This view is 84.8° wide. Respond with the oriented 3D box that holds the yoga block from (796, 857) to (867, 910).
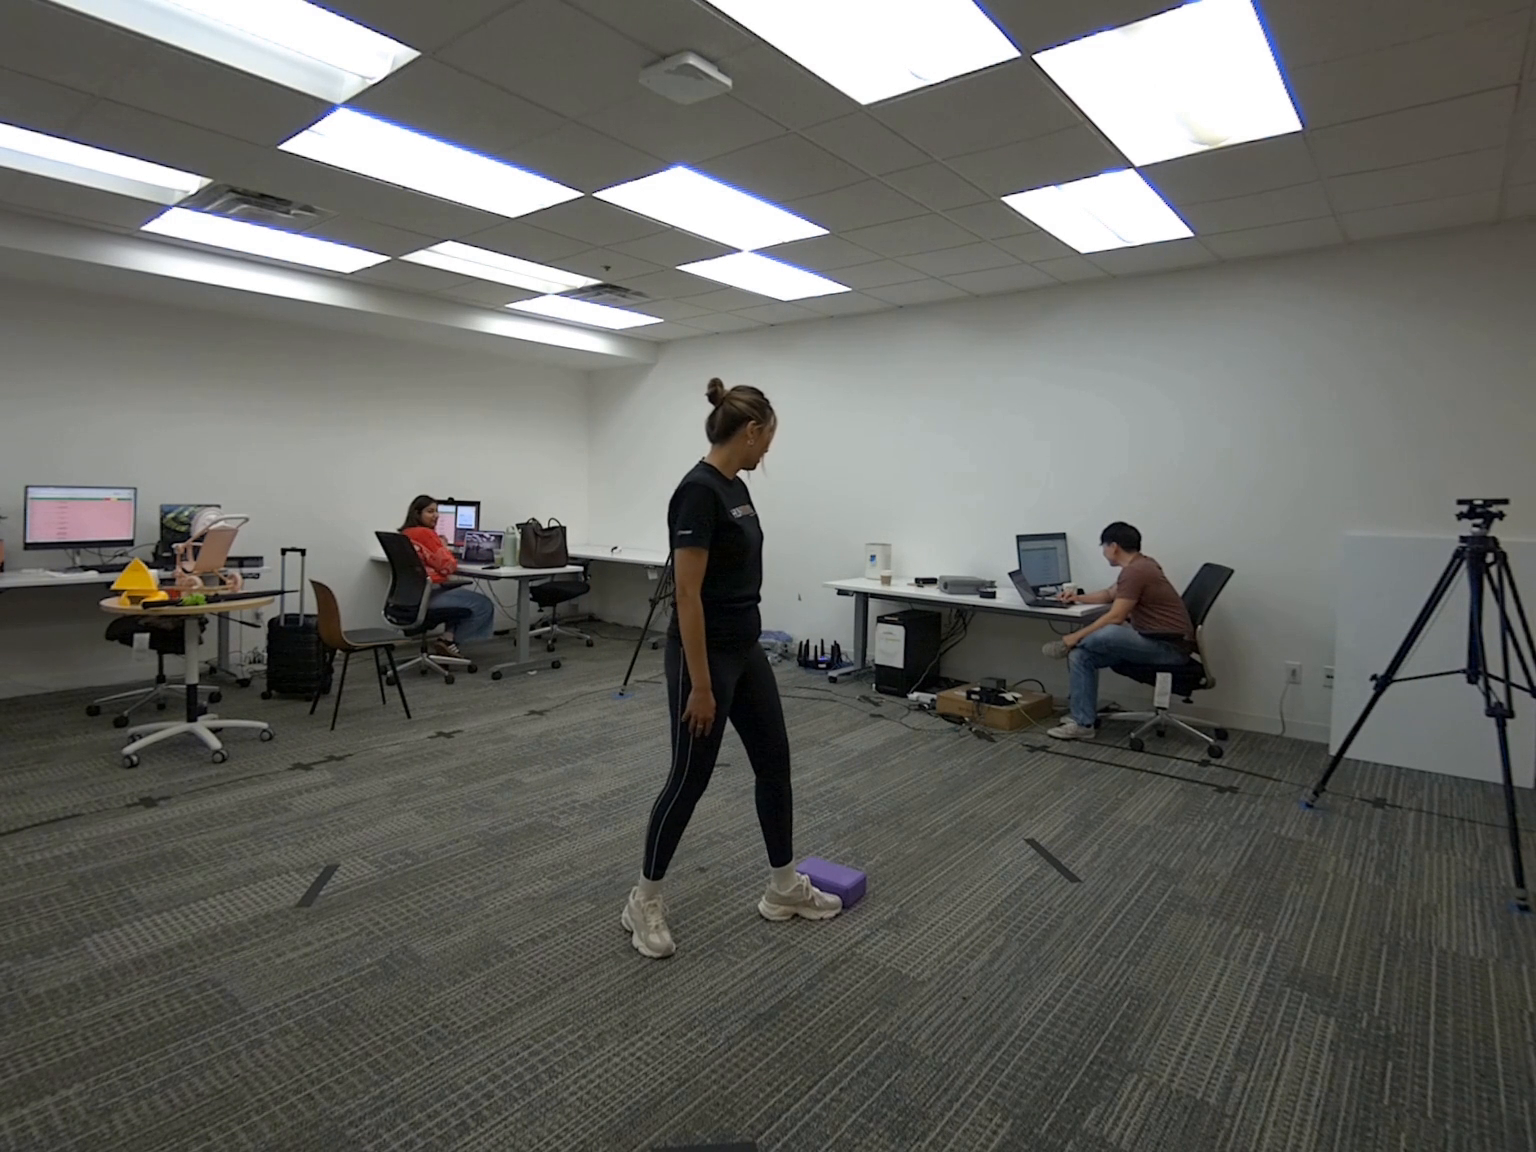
[{"bbox_3d":[0.199,1.051,2.943,0.236,0.076,0.145,4,4,35],"label":"yoga block"}]
